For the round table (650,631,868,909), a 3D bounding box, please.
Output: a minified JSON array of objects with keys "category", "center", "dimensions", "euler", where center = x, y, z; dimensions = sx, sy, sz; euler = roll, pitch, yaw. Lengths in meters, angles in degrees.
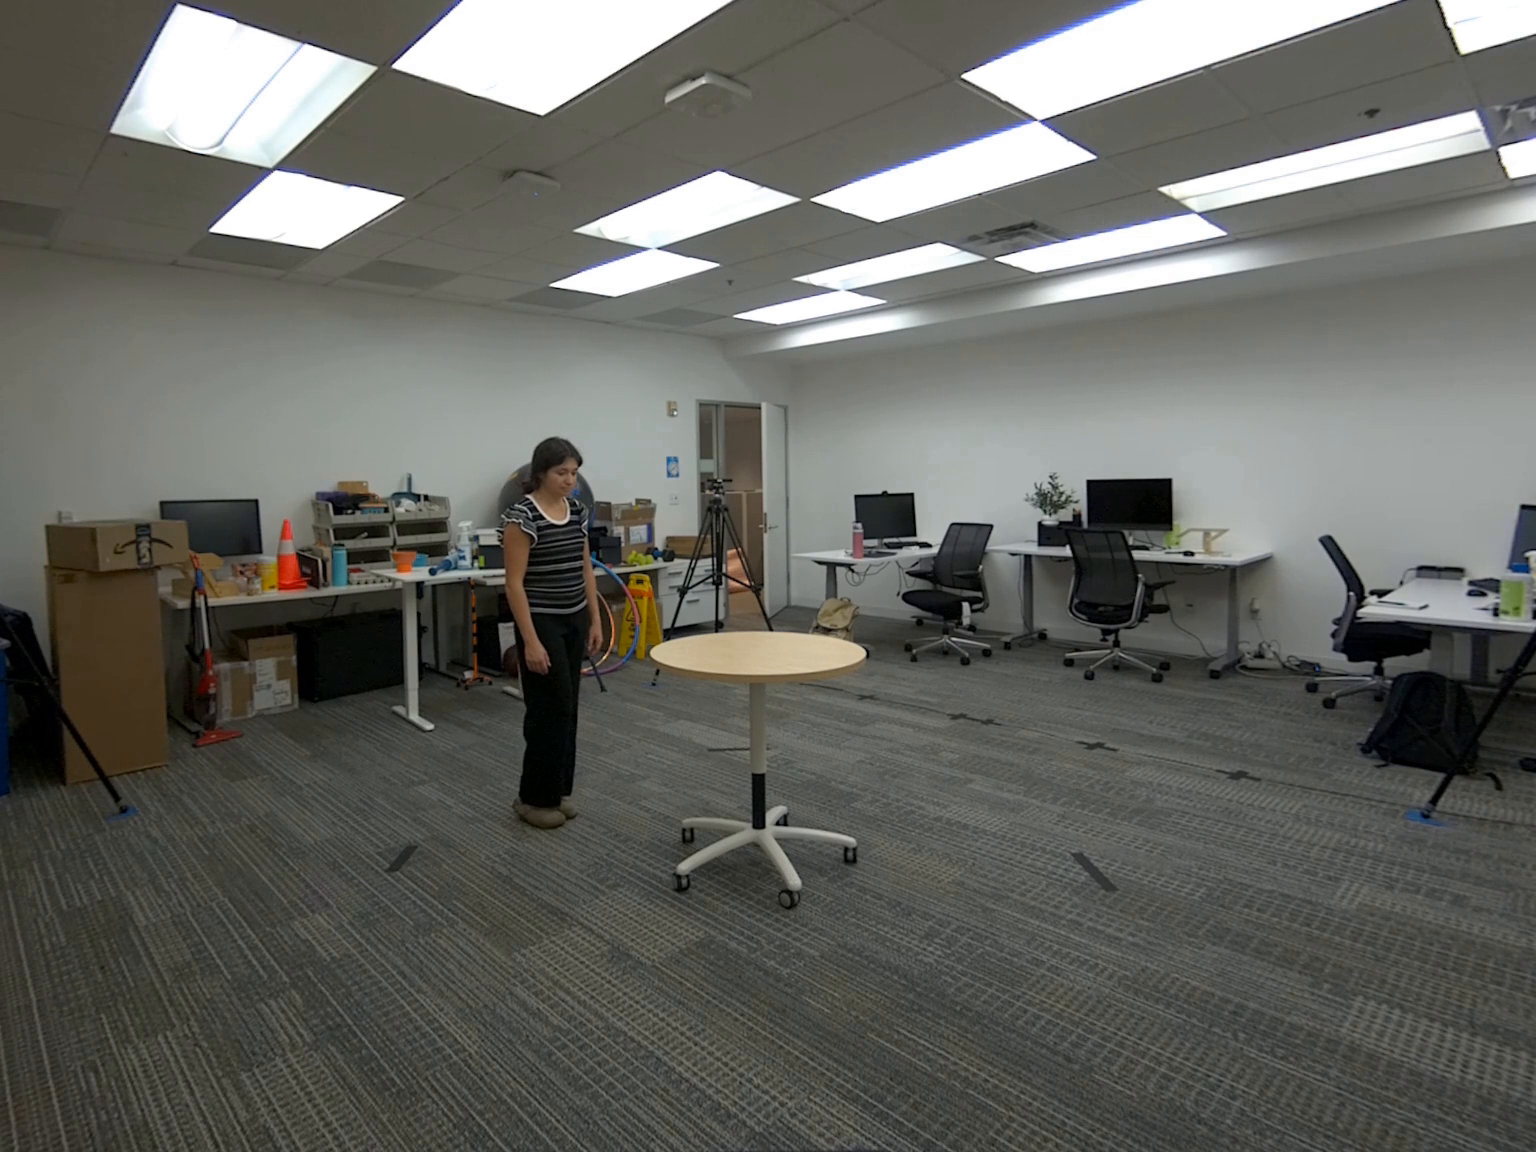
[{"category":"round table","center":[-0.037,0.658,3.068],"dimensions":[0.763,0.791,0.768],"euler":[-1,5,-2]}]
